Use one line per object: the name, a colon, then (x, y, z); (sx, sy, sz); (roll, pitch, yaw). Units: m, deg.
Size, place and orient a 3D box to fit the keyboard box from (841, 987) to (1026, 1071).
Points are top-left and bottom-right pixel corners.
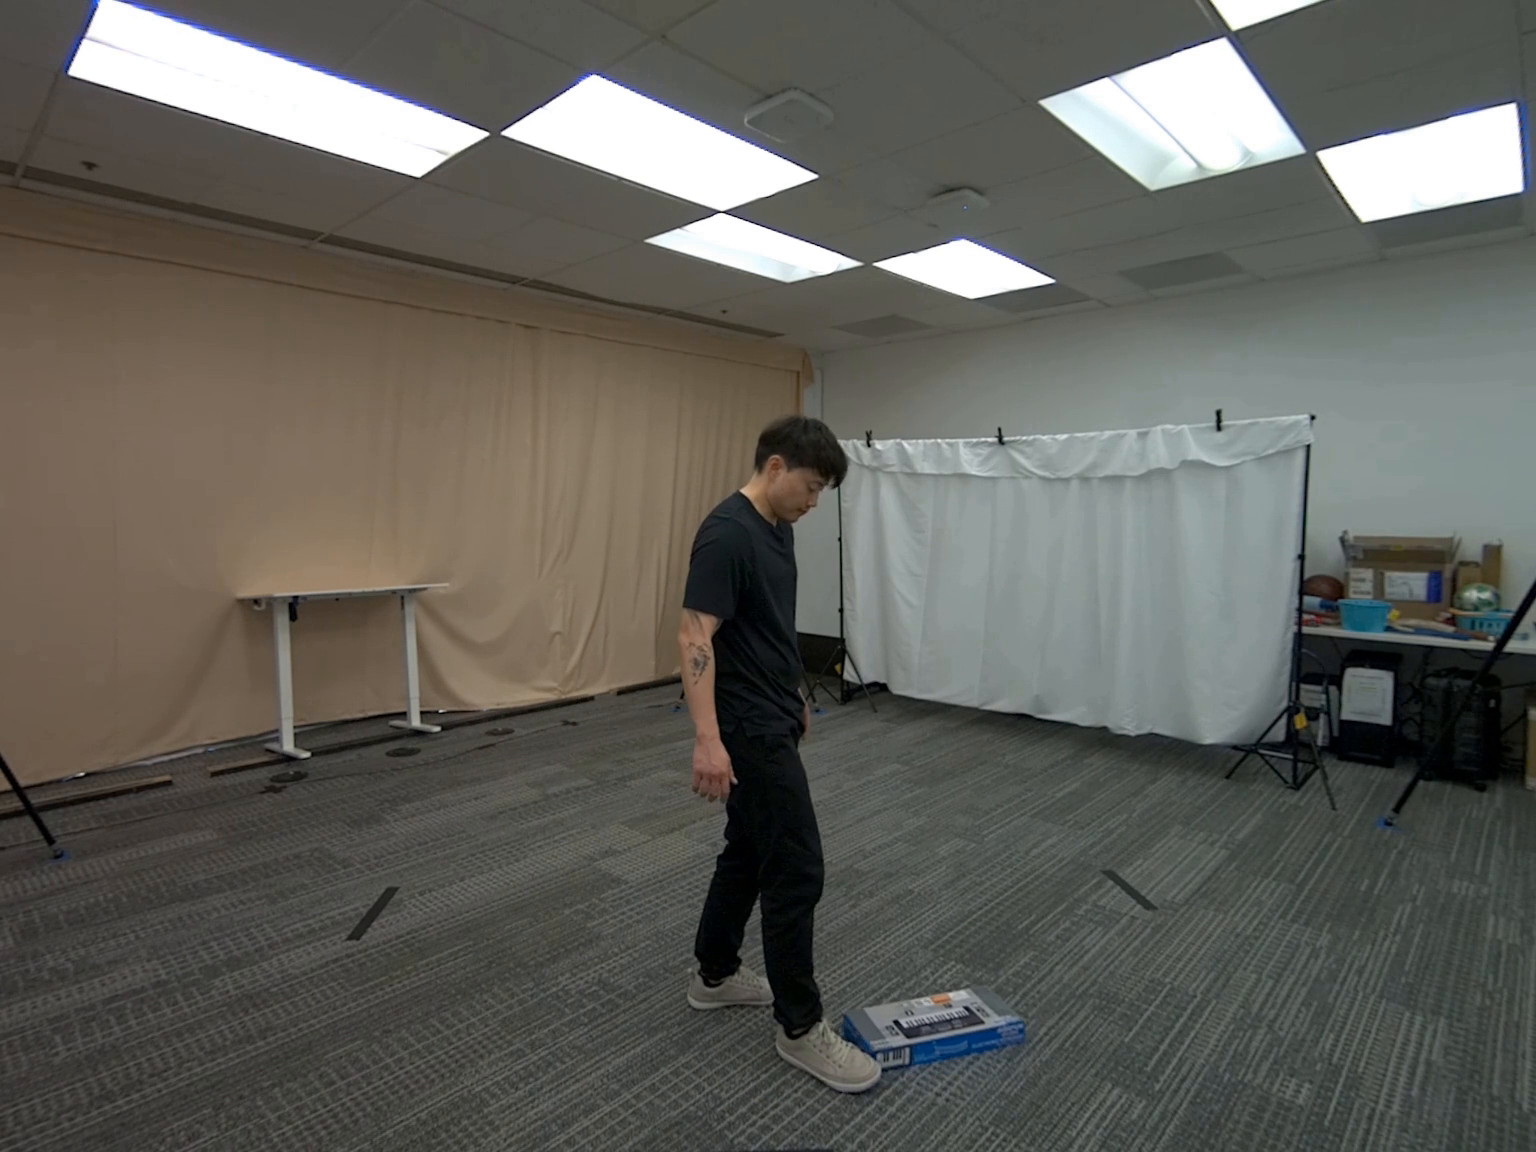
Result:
keyboard box: (0.430, 1.185, 2.182); (0.429, 0.059, 0.179); (-1, 4, -16)
